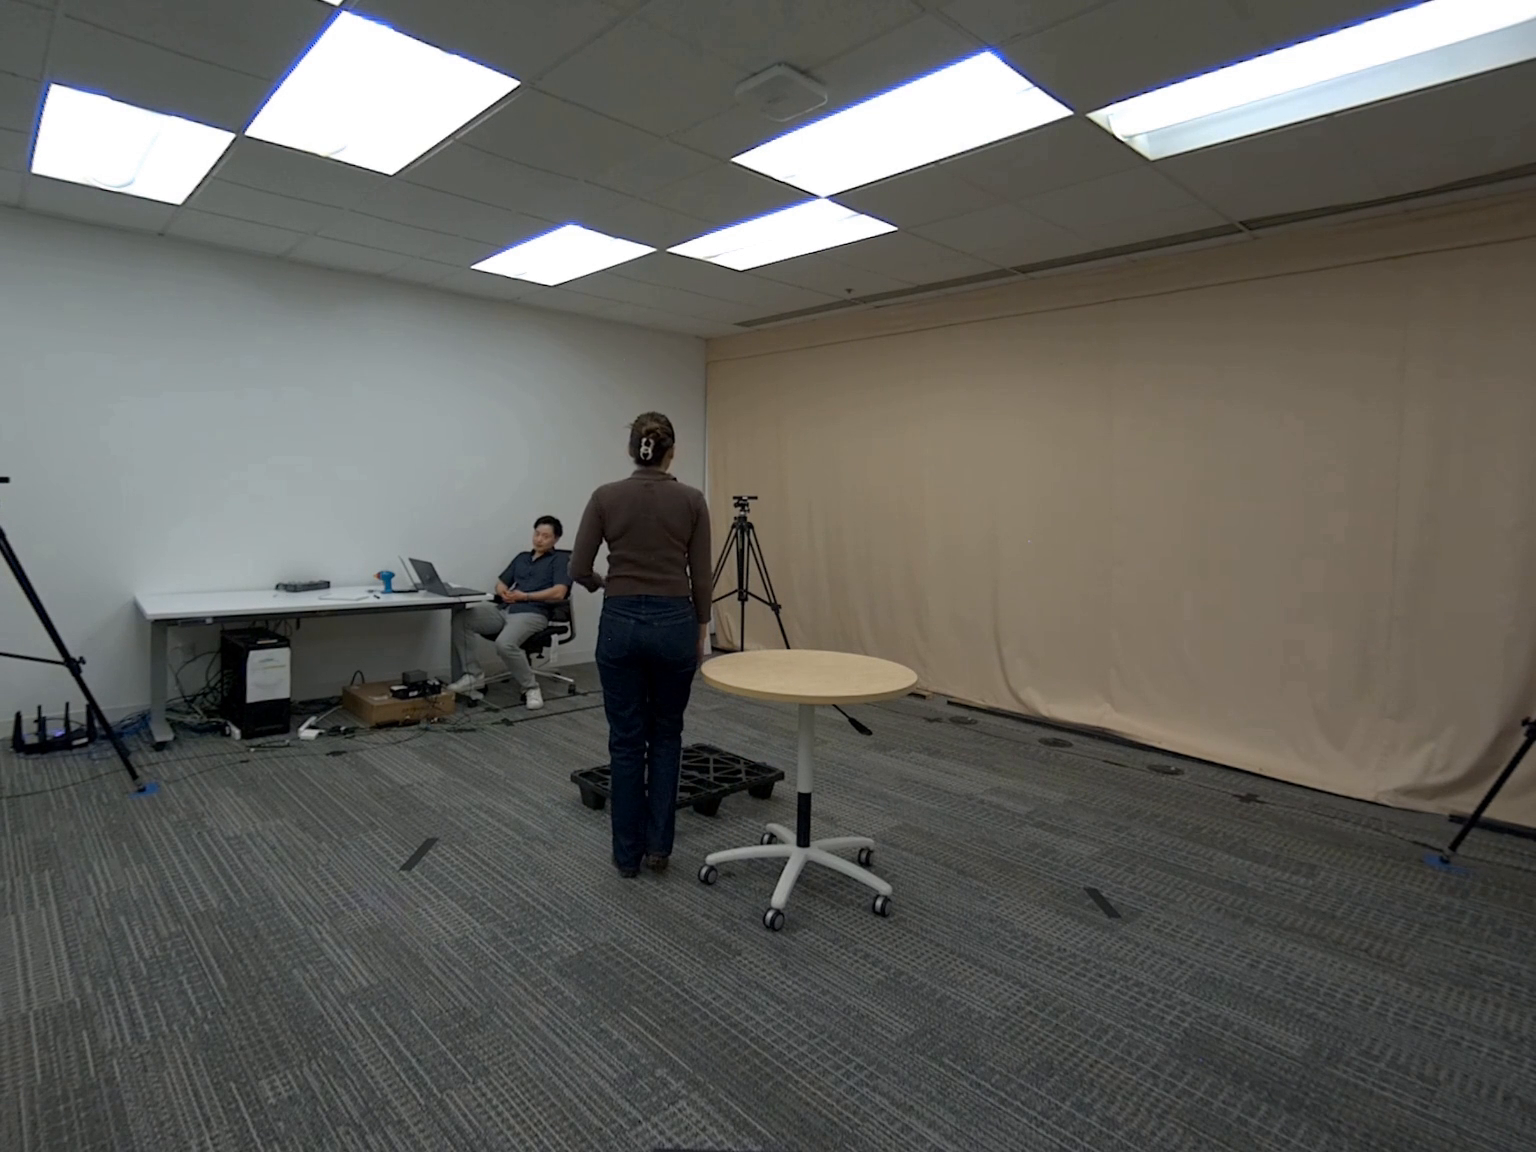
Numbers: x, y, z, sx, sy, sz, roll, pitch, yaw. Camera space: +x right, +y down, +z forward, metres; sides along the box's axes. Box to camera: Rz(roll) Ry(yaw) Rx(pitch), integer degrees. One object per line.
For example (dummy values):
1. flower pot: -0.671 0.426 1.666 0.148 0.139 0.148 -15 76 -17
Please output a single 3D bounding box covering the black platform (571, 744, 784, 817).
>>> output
1. black platform: -0.411 0.965 3.856 0.787 0.143 0.621 -4 7 -44
